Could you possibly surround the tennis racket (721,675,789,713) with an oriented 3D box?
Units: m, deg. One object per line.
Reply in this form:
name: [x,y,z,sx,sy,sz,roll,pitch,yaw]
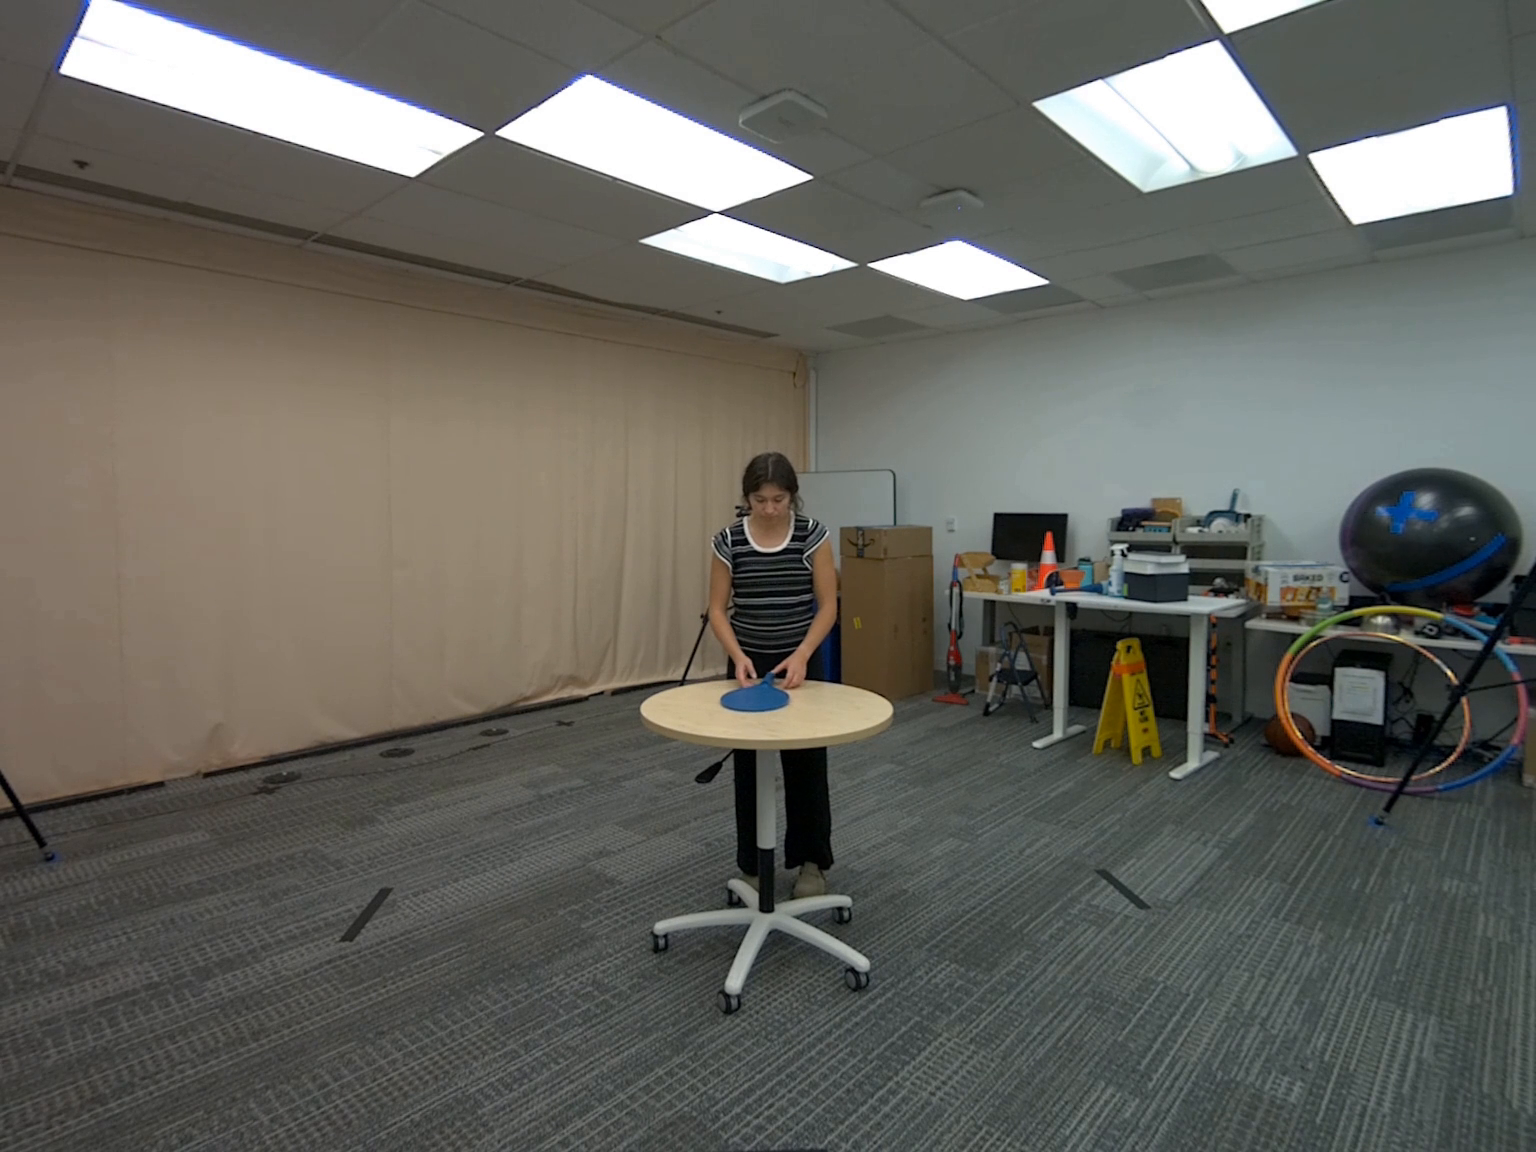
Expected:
tennis racket: [-0.019,0.373,2.697,0.217,0.031,0.428,1,7,12]
